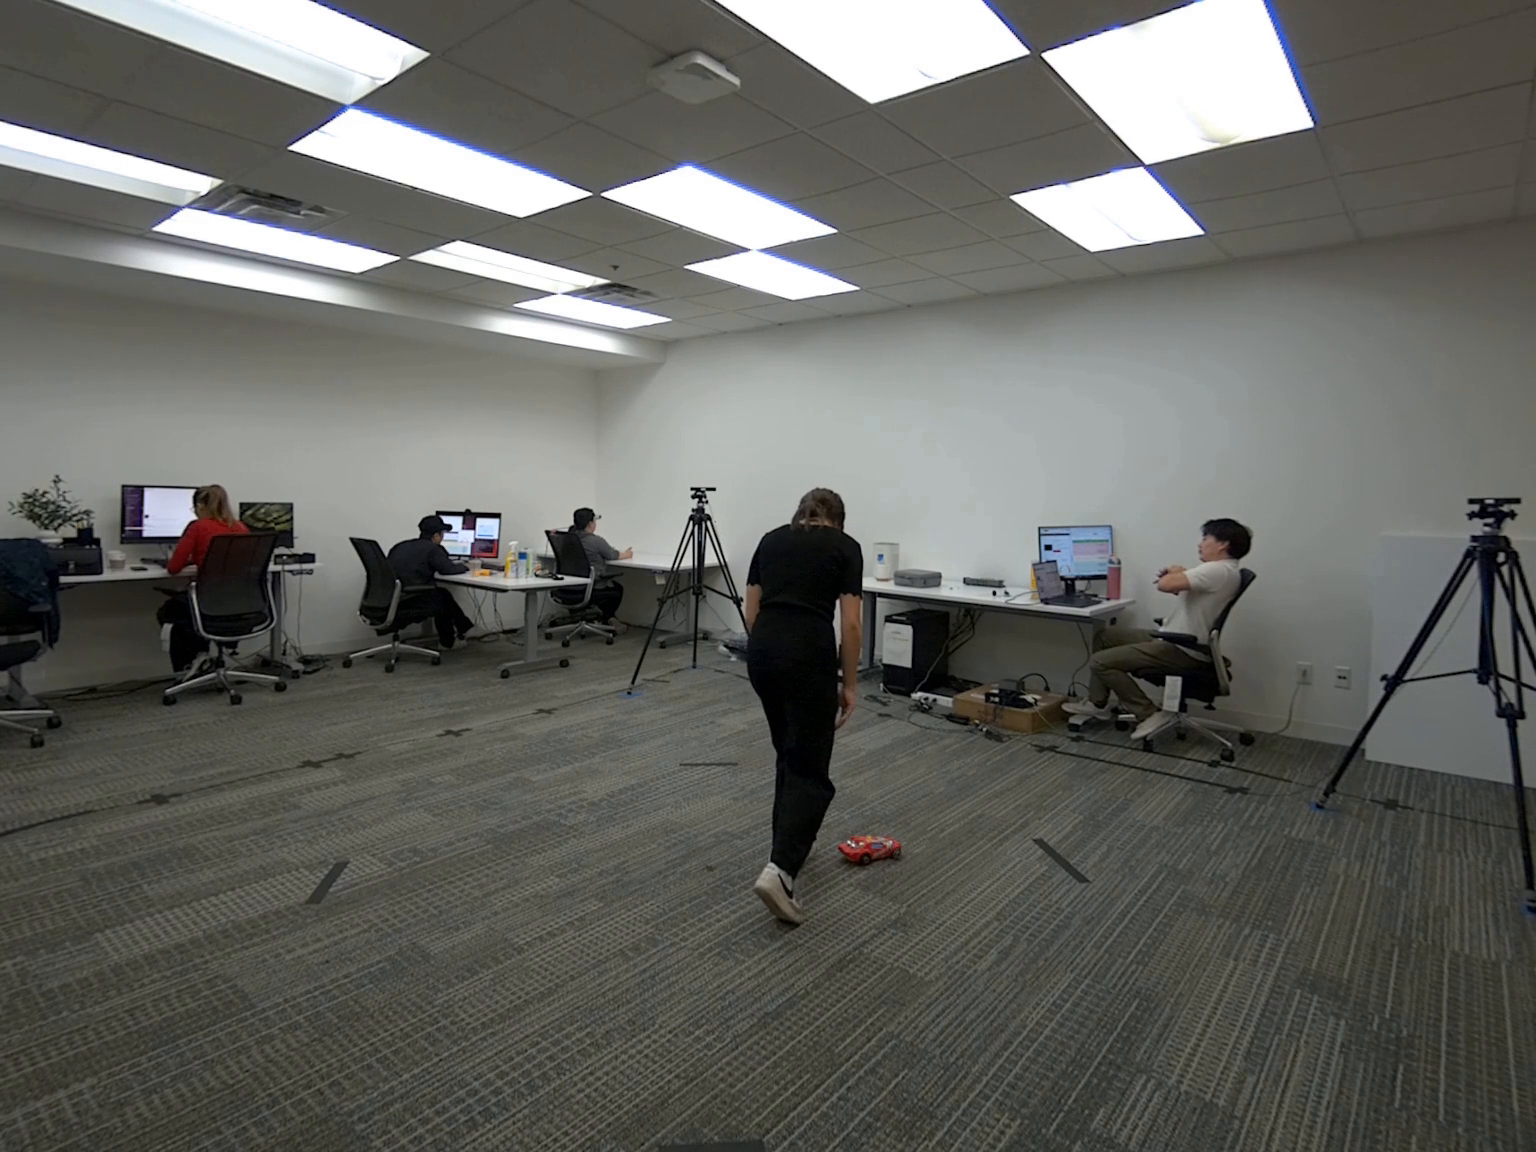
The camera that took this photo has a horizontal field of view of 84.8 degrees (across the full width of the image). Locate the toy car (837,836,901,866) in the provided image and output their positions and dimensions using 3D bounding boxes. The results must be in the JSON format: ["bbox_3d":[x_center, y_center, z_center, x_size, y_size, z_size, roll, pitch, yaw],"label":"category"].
[{"bbox_3d":[0.373,1.039,3.227,0.247,0.083,0.134,10,1,-26],"label":"toy car"}]
